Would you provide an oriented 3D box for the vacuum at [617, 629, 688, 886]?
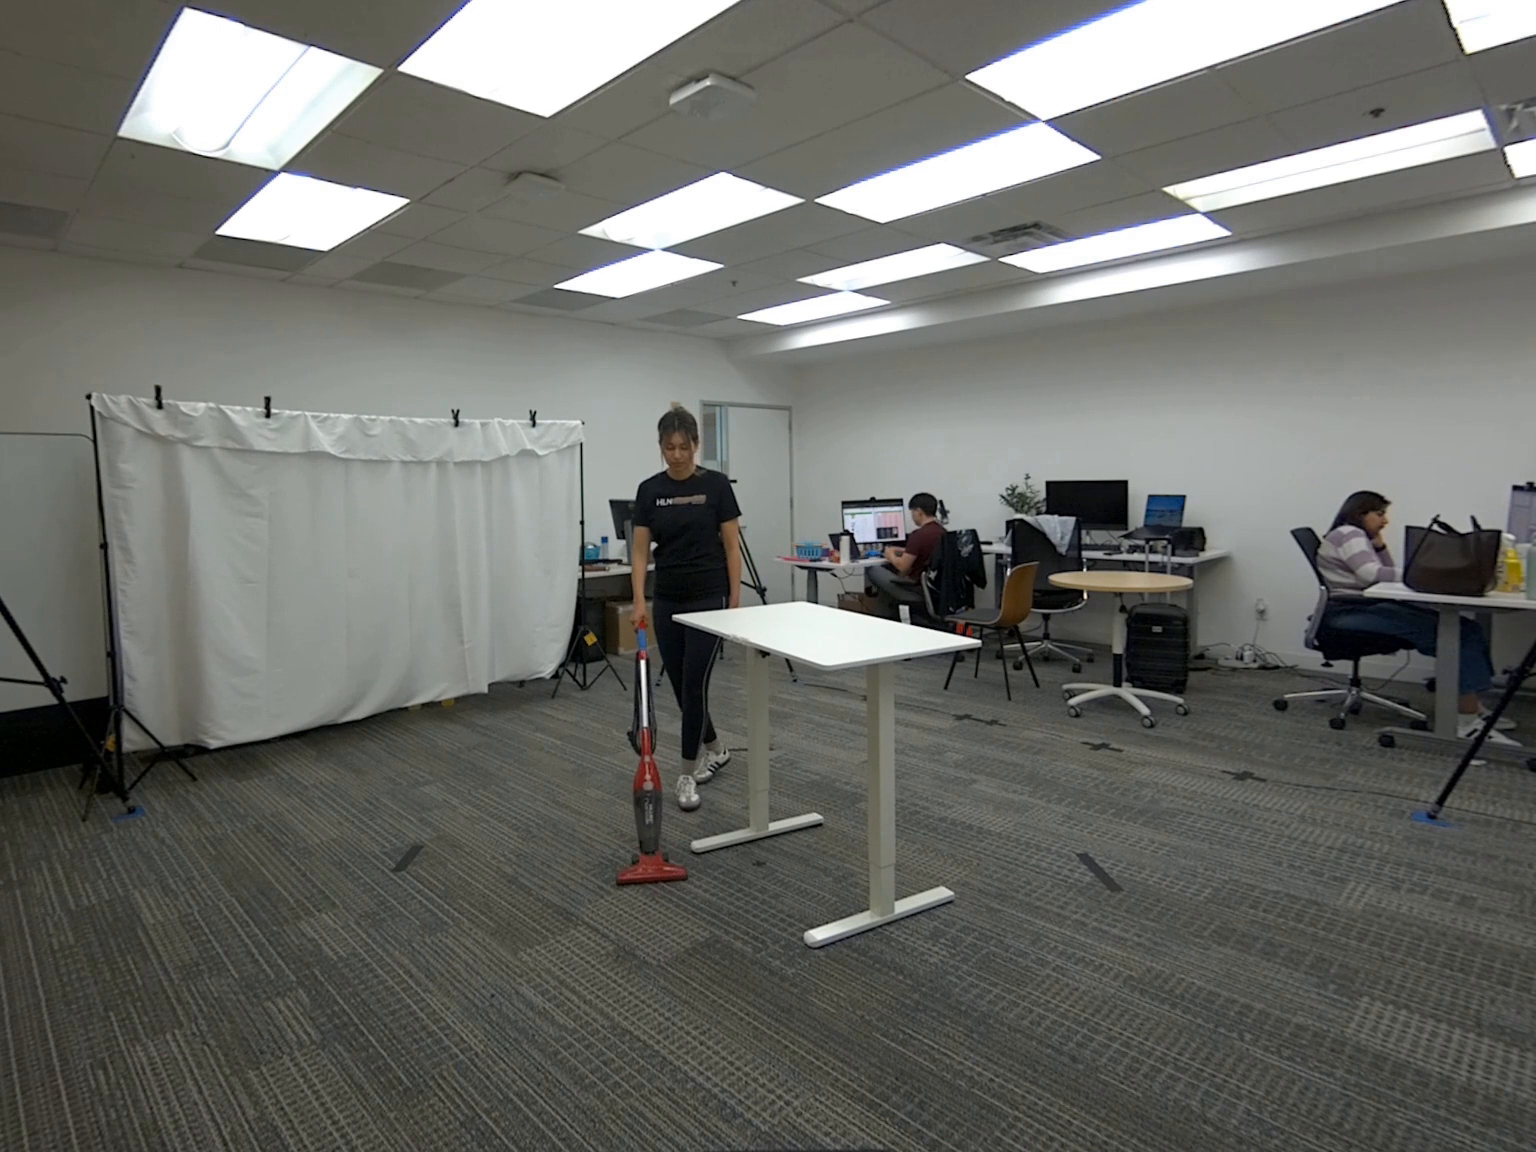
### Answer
[{"bbox_3d":[-0.487,0.624,3.352,0.251,1.081,0.140,-4,-37,-8],"label":"vacuum"}]
